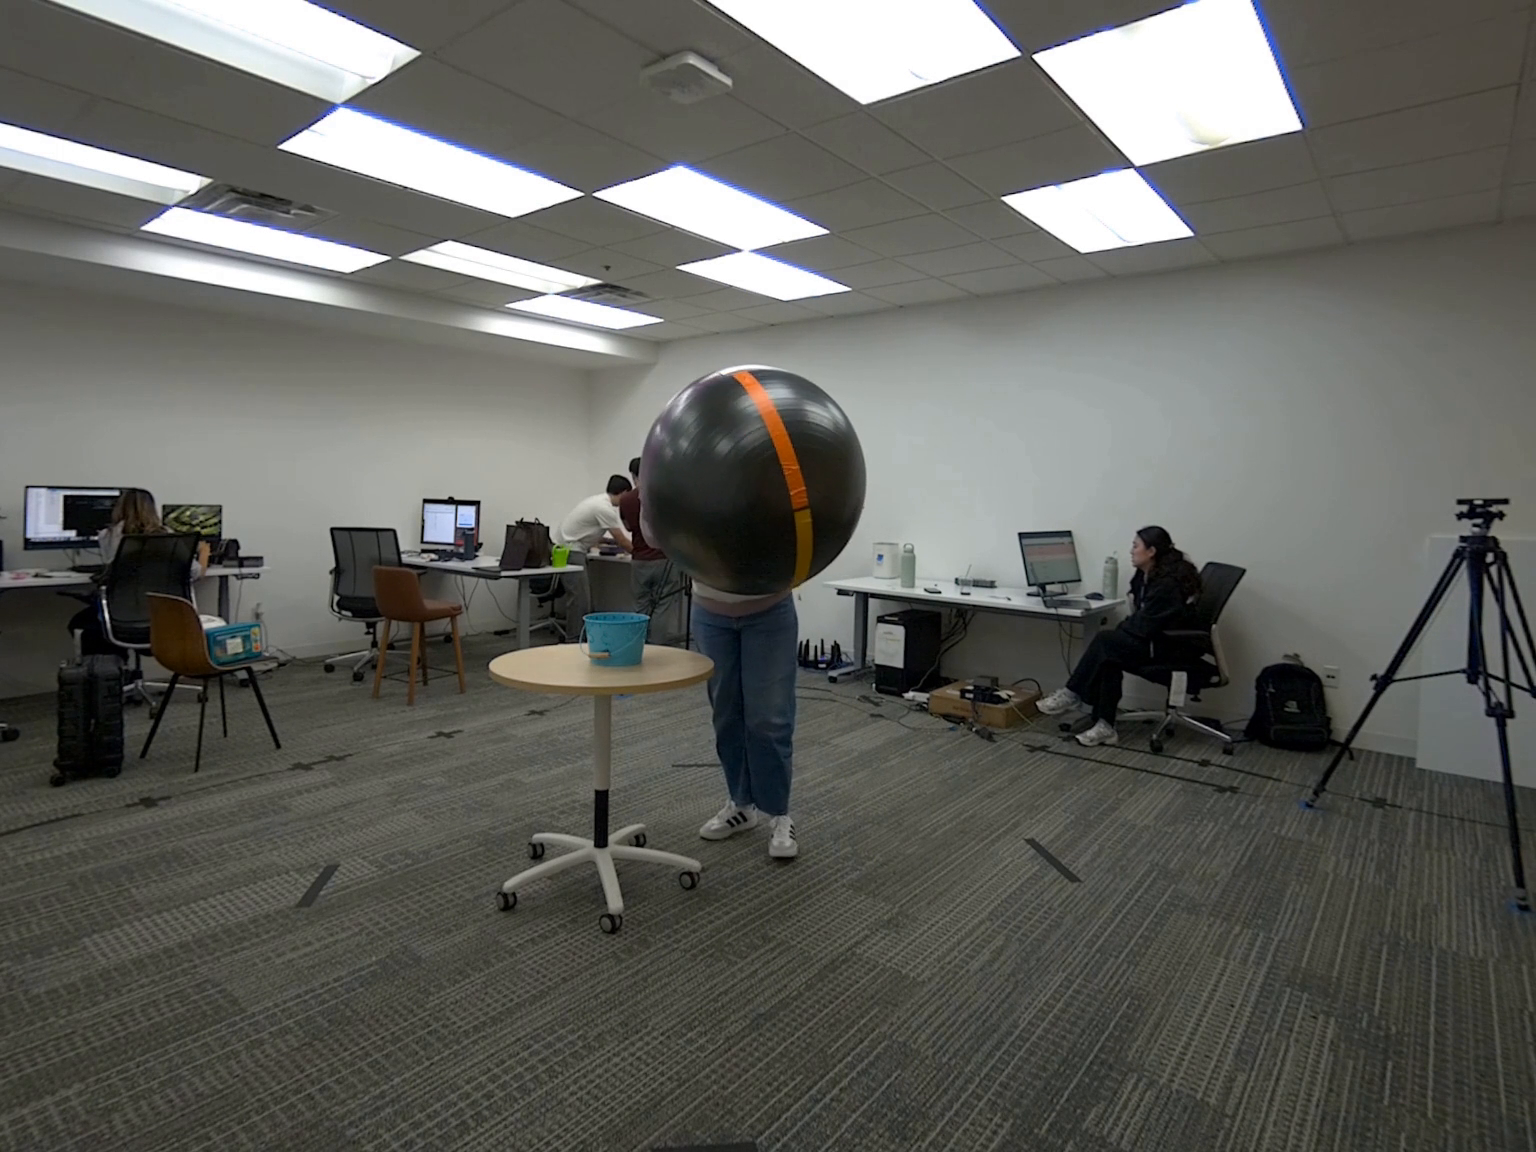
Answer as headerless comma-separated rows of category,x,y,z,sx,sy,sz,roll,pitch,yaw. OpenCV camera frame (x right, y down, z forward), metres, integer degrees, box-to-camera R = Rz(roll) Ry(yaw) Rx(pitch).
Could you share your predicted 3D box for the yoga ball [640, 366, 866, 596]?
yoga ball,-0.060,-0.309,2.831,0.757,0.755,0.762,1,4,-2
